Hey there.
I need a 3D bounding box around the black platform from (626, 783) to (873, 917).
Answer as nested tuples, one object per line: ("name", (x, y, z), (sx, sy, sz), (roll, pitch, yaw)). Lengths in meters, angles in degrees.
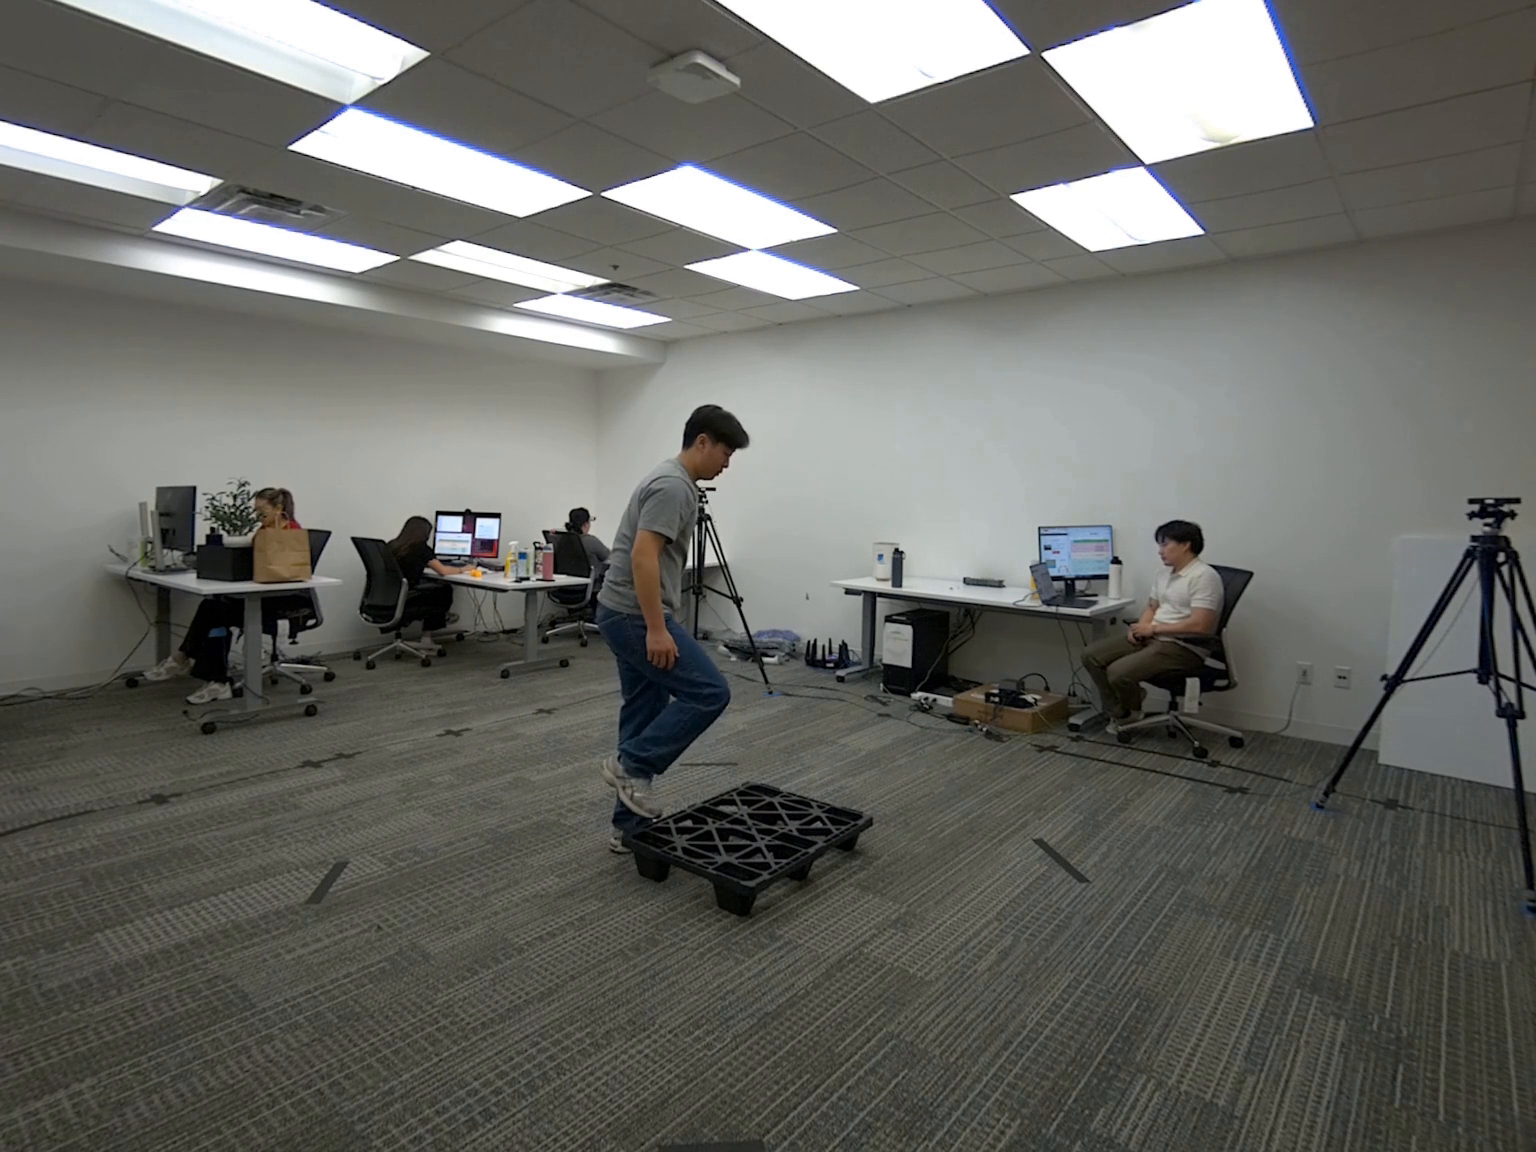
("black platform", (-0.064, 0.994, 3.176), (0.625, 0.143, 0.782), (6, 7, 37))
